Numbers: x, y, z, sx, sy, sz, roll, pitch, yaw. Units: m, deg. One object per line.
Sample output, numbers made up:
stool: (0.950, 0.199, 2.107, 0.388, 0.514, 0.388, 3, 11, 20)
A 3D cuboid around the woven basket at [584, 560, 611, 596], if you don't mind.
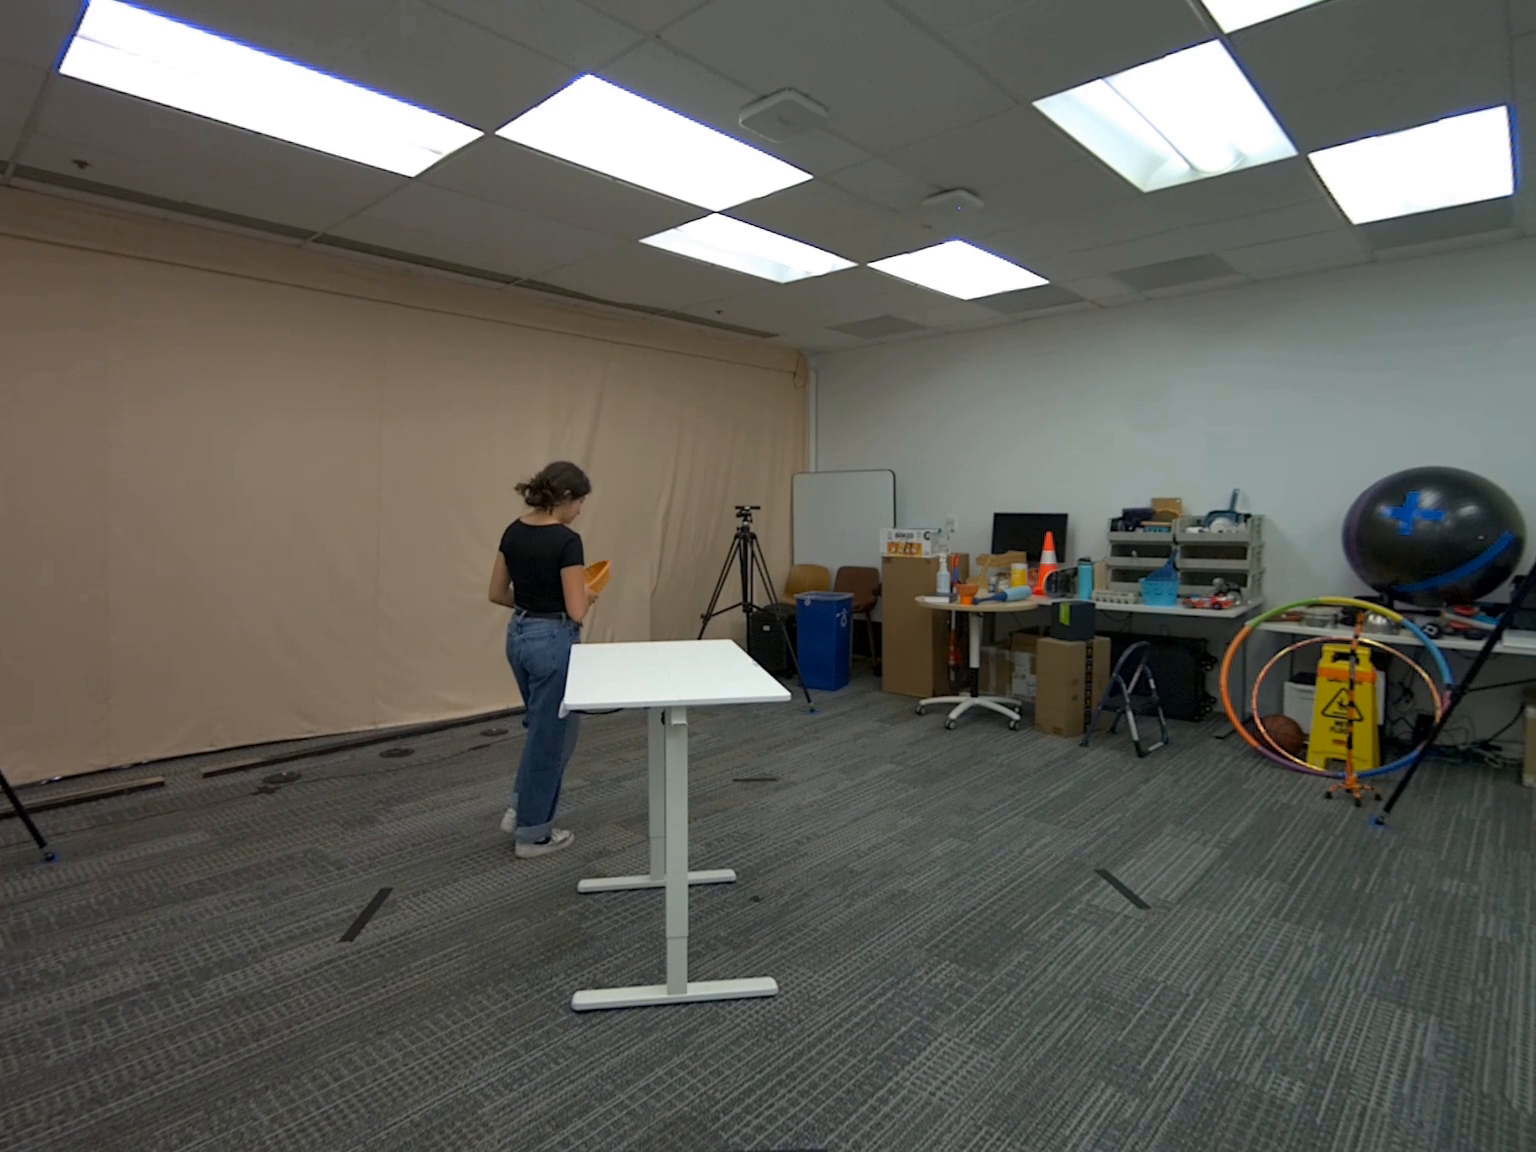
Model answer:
woven basket: (-0.787, 0.053, 3.646, 0.257, 0.072, 0.350, -20, 23, 28)
